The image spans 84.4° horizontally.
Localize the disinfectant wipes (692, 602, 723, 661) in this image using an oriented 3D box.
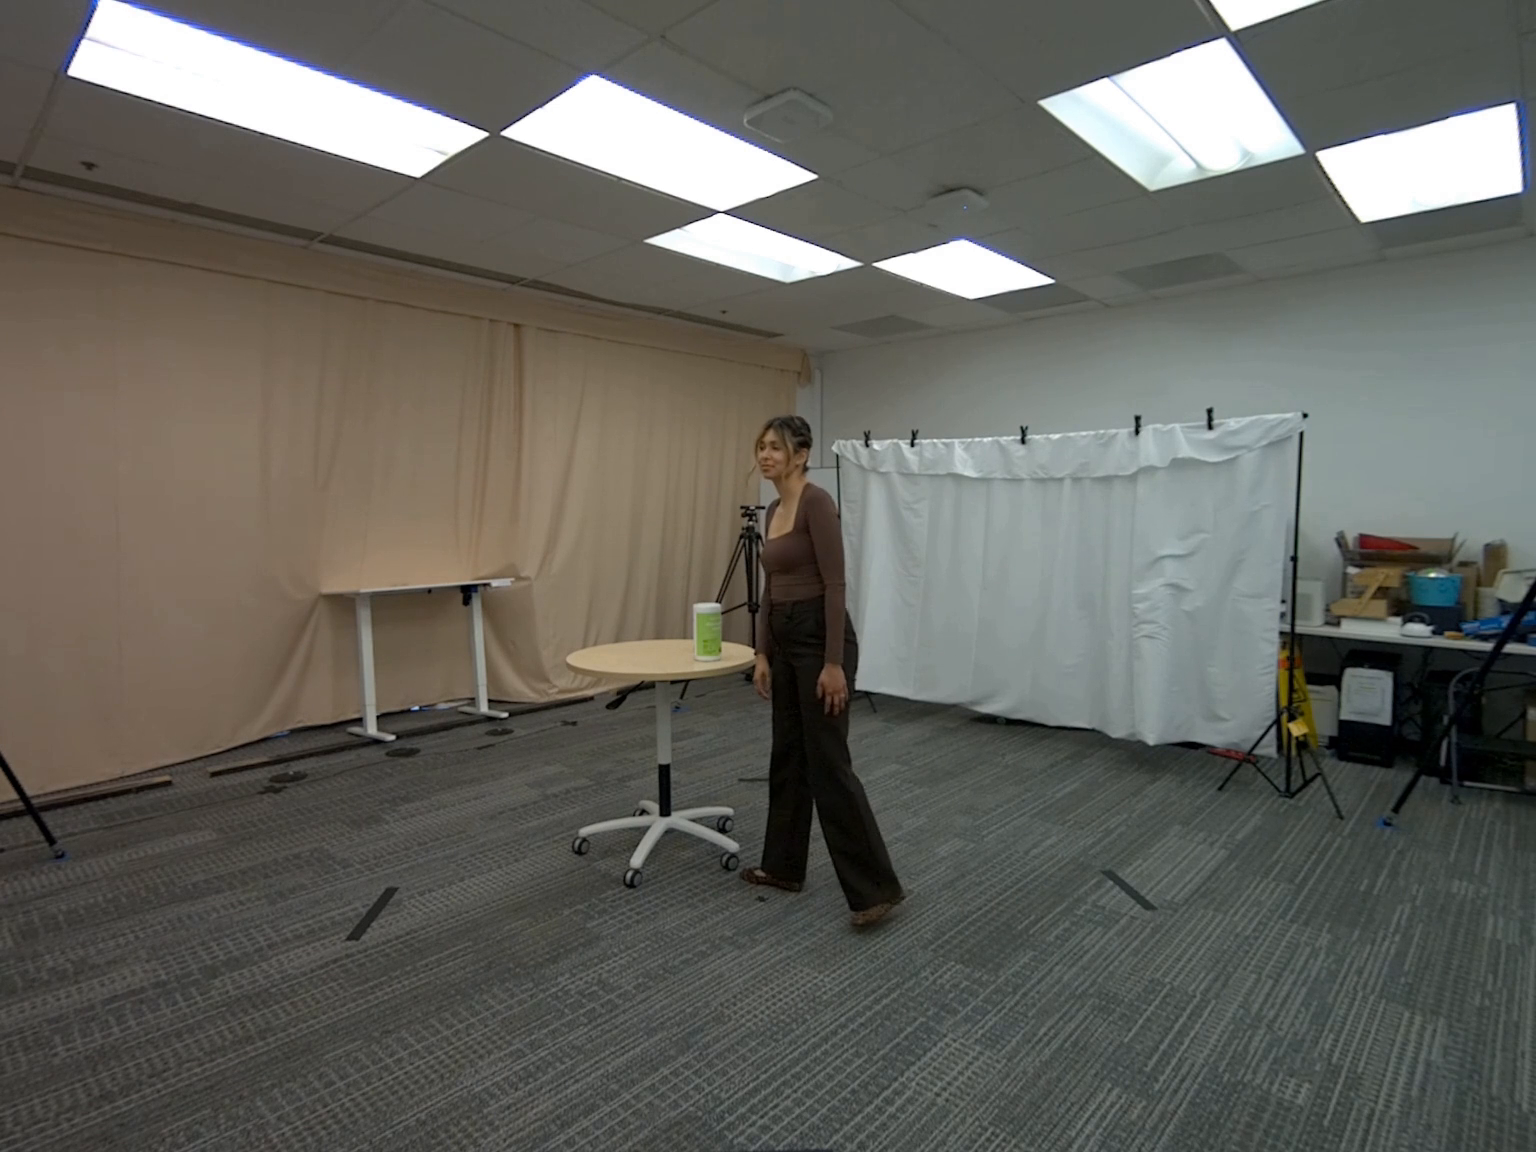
[{"bbox_3d":[-0.235,0.218,3.265,0.118,0.217,0.118,0,4,-2],"label":"disinfectant wipes"}]
